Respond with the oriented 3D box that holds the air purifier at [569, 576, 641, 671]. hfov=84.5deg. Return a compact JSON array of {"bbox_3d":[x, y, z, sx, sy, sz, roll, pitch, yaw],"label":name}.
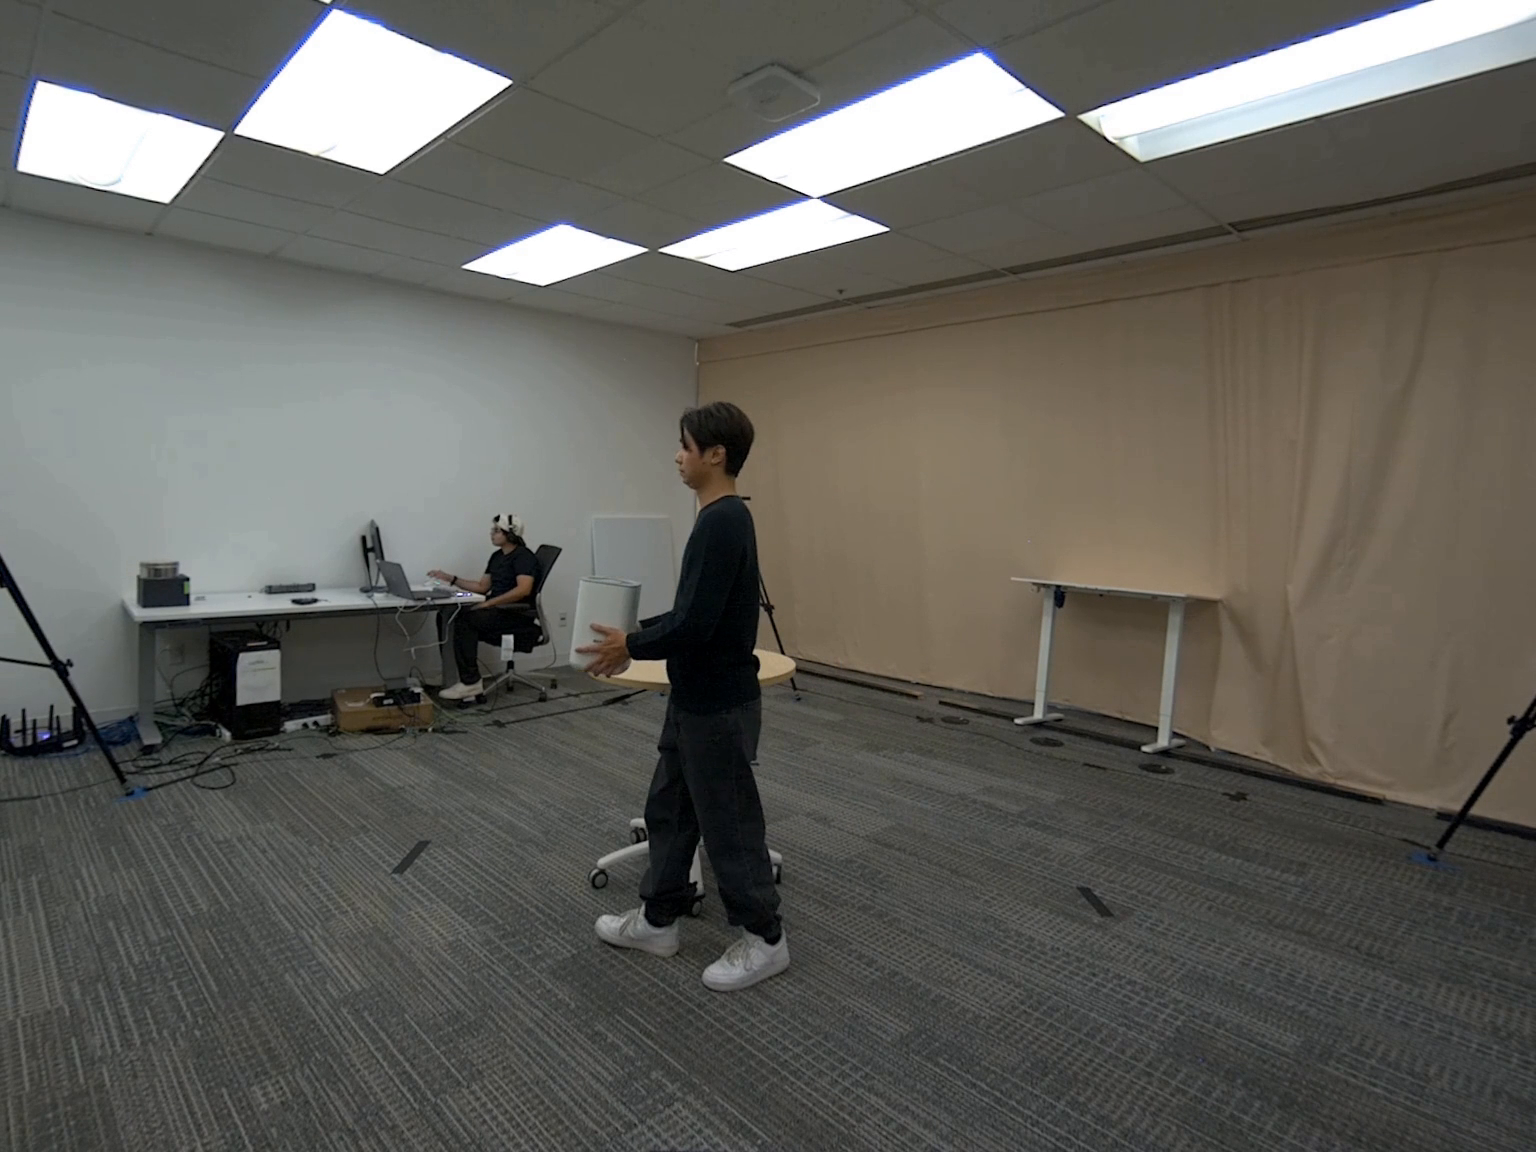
[{"bbox_3d":[-0.472,0.142,2.465,0.171,0.265,0.171,9,2,1],"label":"air purifier"}]
